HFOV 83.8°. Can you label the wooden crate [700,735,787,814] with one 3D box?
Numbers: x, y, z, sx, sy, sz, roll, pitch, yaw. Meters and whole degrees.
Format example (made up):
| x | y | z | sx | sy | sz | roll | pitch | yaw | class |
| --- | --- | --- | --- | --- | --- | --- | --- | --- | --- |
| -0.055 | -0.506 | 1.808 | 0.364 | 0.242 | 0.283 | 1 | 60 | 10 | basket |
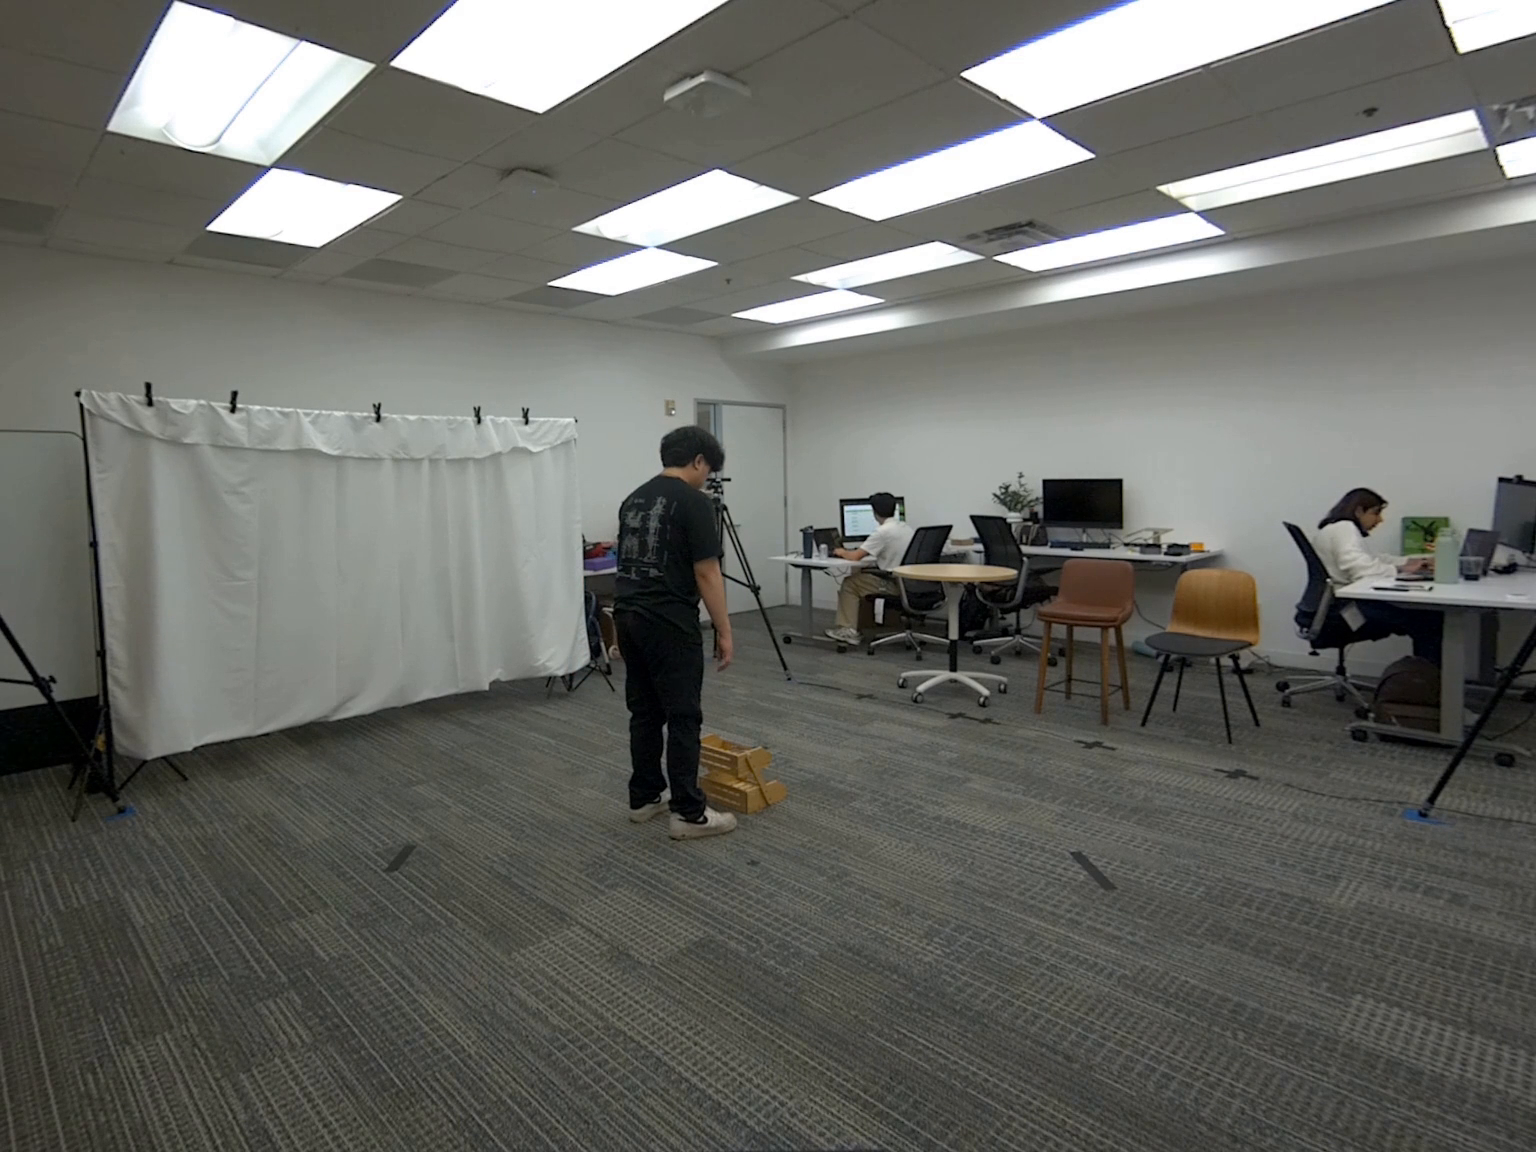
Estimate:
| x | y | z | sx | sy | sz | roll | pitch | yaw | class |
| --- | --- | --- | --- | --- | --- | --- | --- | --- | --- |
| -0.128 | 0.838 | 3.733 | 0.334 | 0.272 | 0.294 | 3 | 7 | 44 | wooden crate |
